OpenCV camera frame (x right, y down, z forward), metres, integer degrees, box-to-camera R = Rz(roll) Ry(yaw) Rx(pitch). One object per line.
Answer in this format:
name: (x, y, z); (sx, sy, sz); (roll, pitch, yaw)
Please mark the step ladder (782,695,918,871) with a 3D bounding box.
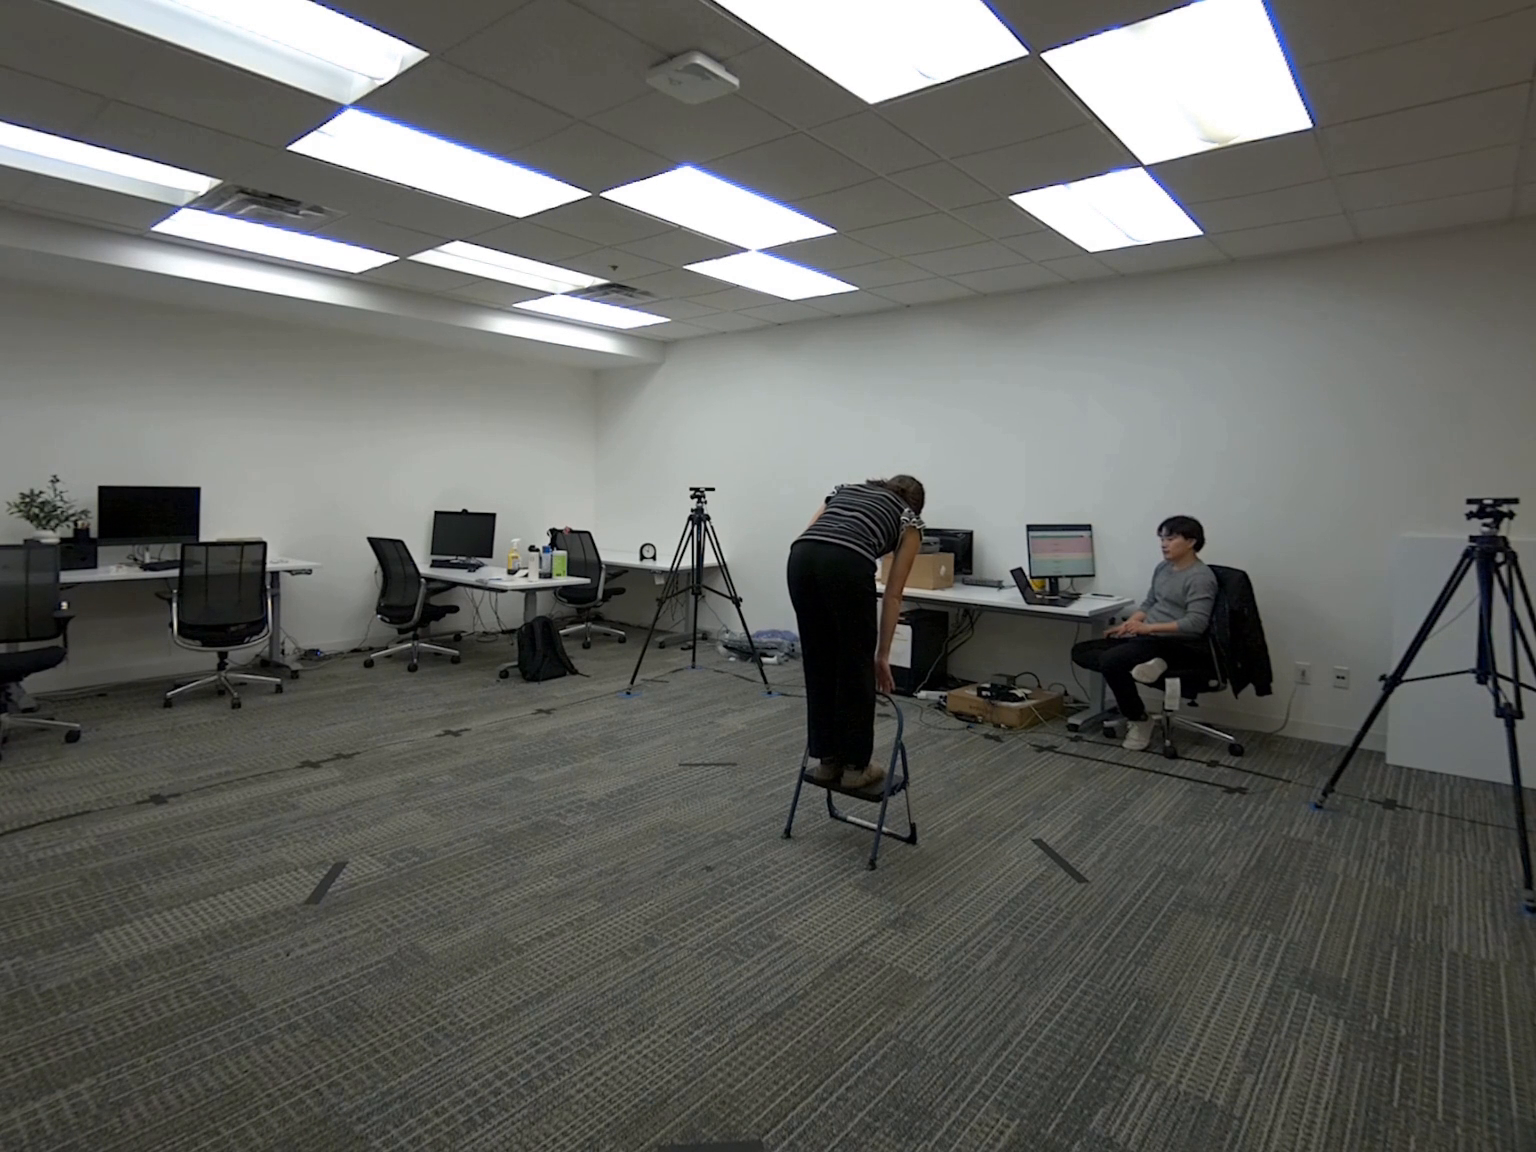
step ladder: (0.329, 0.749, 3.378); (0.445, 0.604, 0.338); (4, 4, 40)
